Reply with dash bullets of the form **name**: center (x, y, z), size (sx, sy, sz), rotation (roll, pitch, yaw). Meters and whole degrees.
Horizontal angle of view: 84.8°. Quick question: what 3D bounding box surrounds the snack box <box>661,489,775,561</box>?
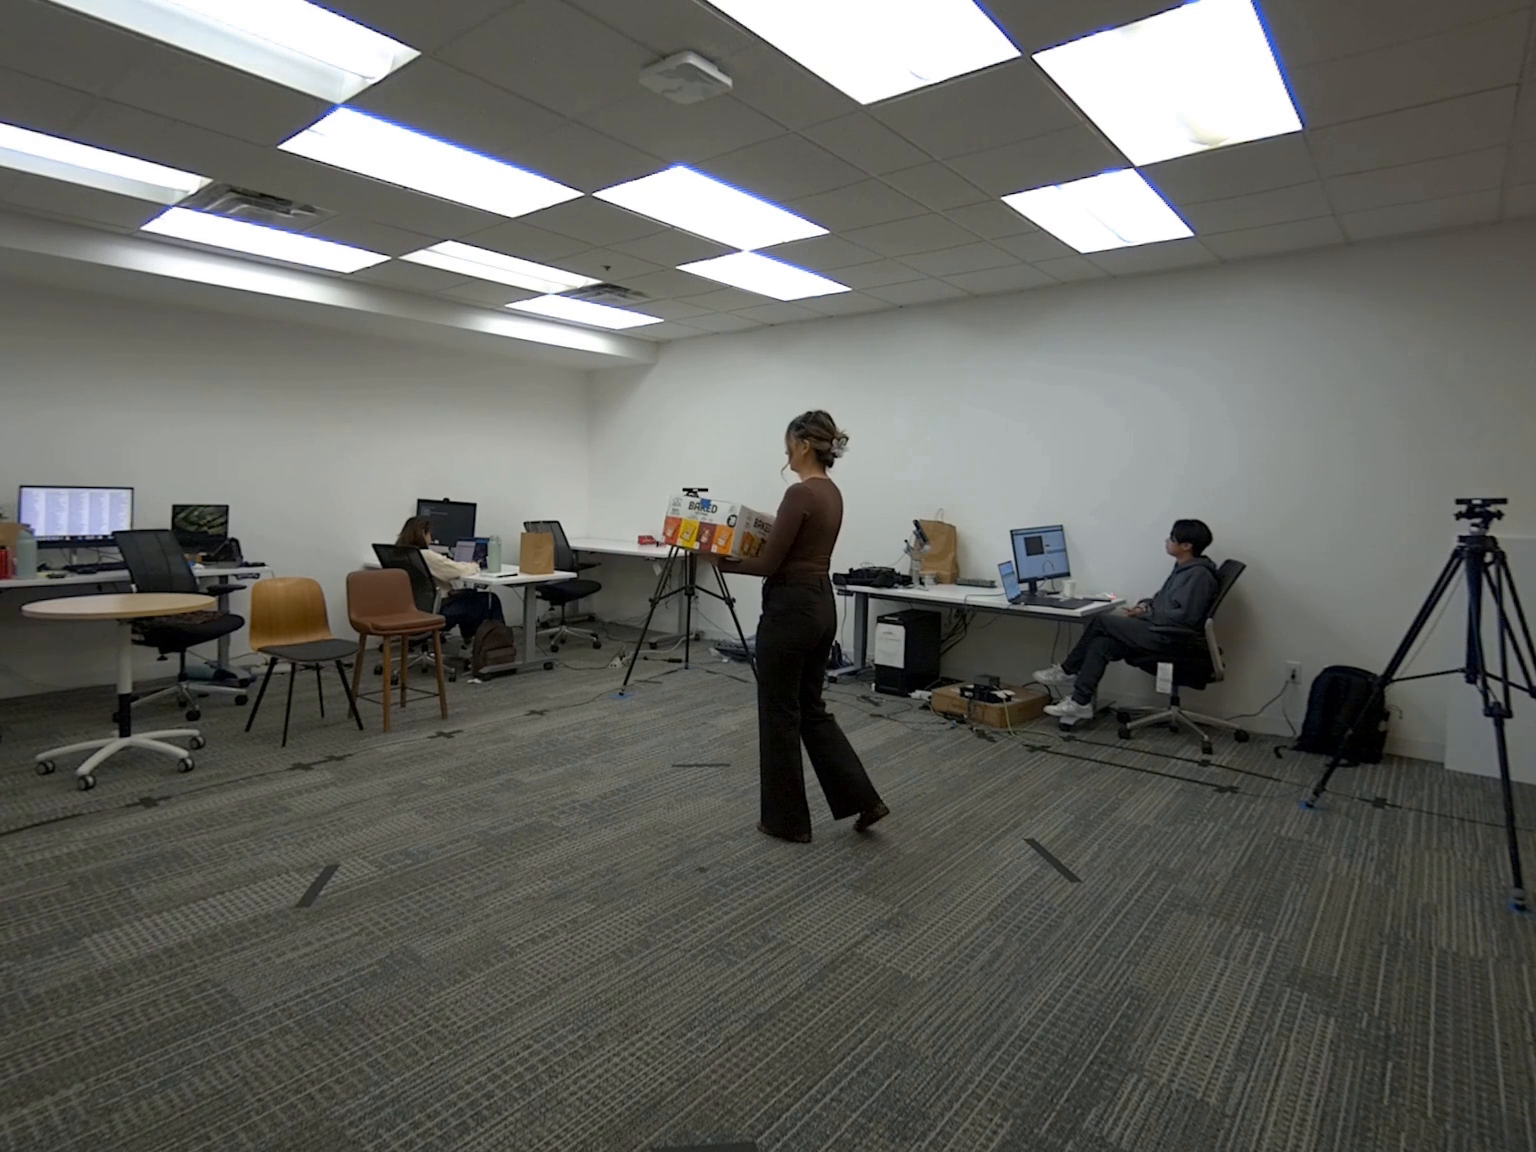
- **snack box**: center (-0.187, -0.181, 3.502), size (0.352, 0.206, 0.391), rotation (12, -3, 31)
